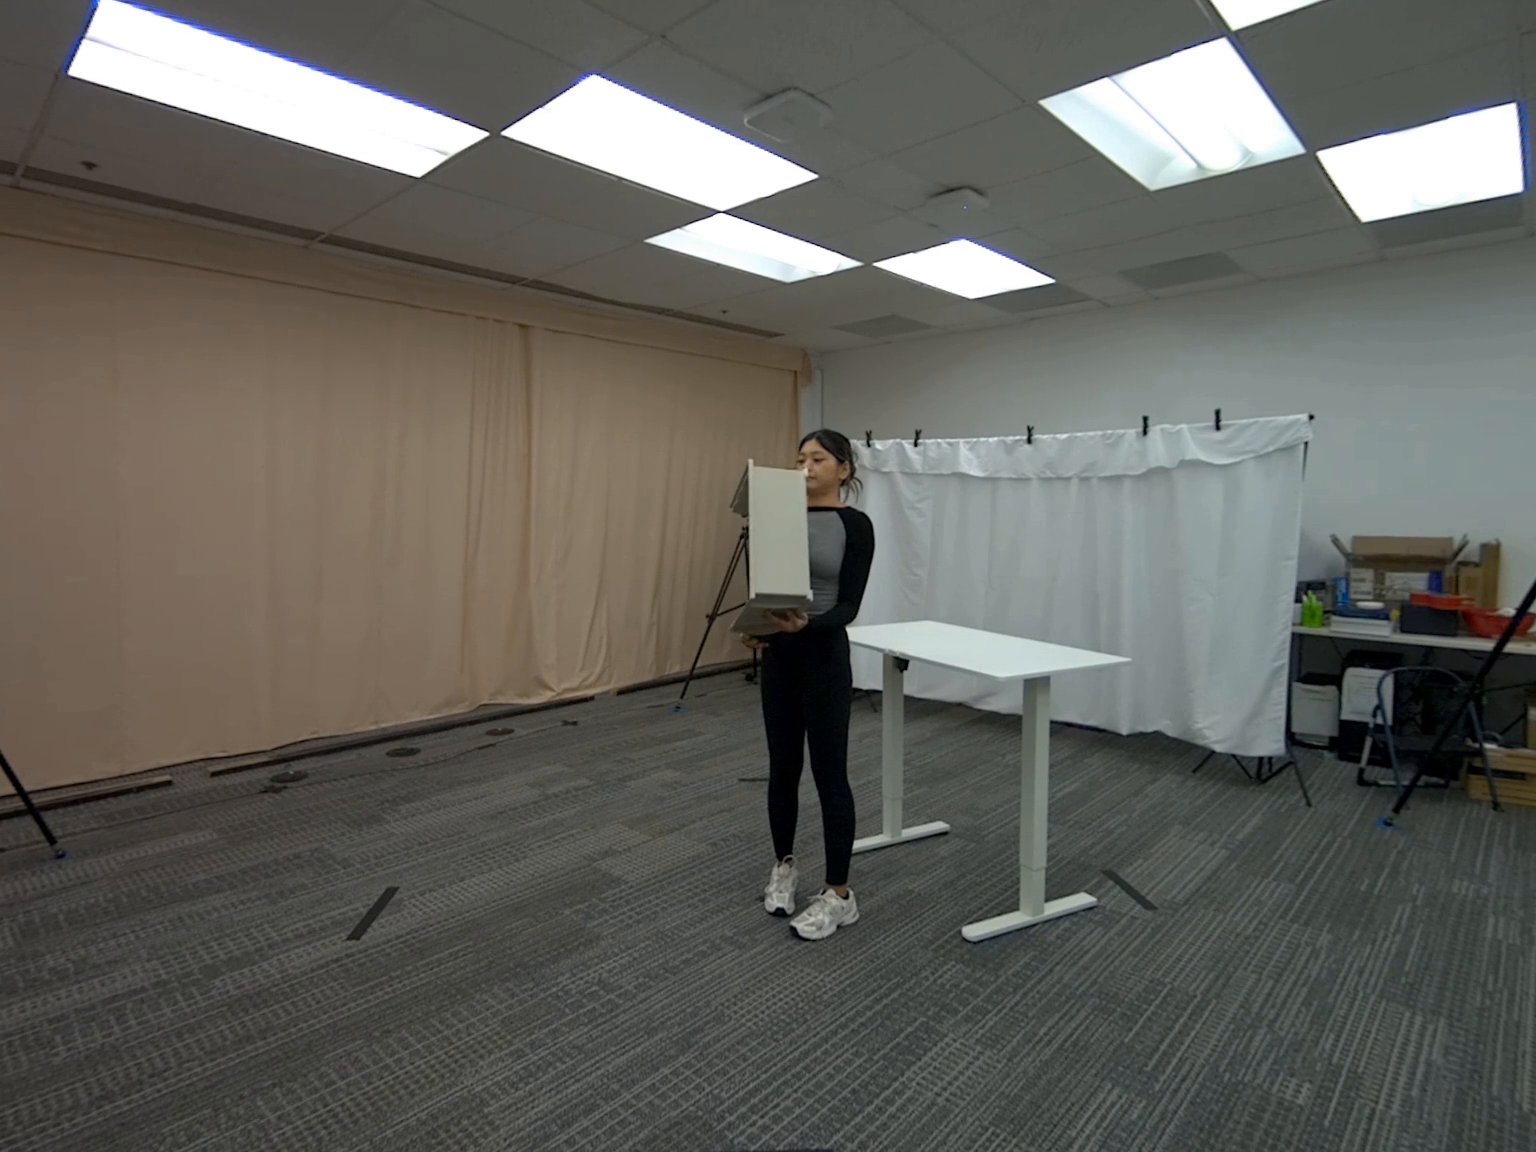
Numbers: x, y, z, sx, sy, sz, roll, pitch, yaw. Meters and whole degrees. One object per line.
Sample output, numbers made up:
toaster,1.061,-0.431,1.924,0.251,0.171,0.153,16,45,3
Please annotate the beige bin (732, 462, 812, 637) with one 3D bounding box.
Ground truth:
beige bin,0.002,-0.068,2.535,0.186,0.428,0.377,1,-21,-14
